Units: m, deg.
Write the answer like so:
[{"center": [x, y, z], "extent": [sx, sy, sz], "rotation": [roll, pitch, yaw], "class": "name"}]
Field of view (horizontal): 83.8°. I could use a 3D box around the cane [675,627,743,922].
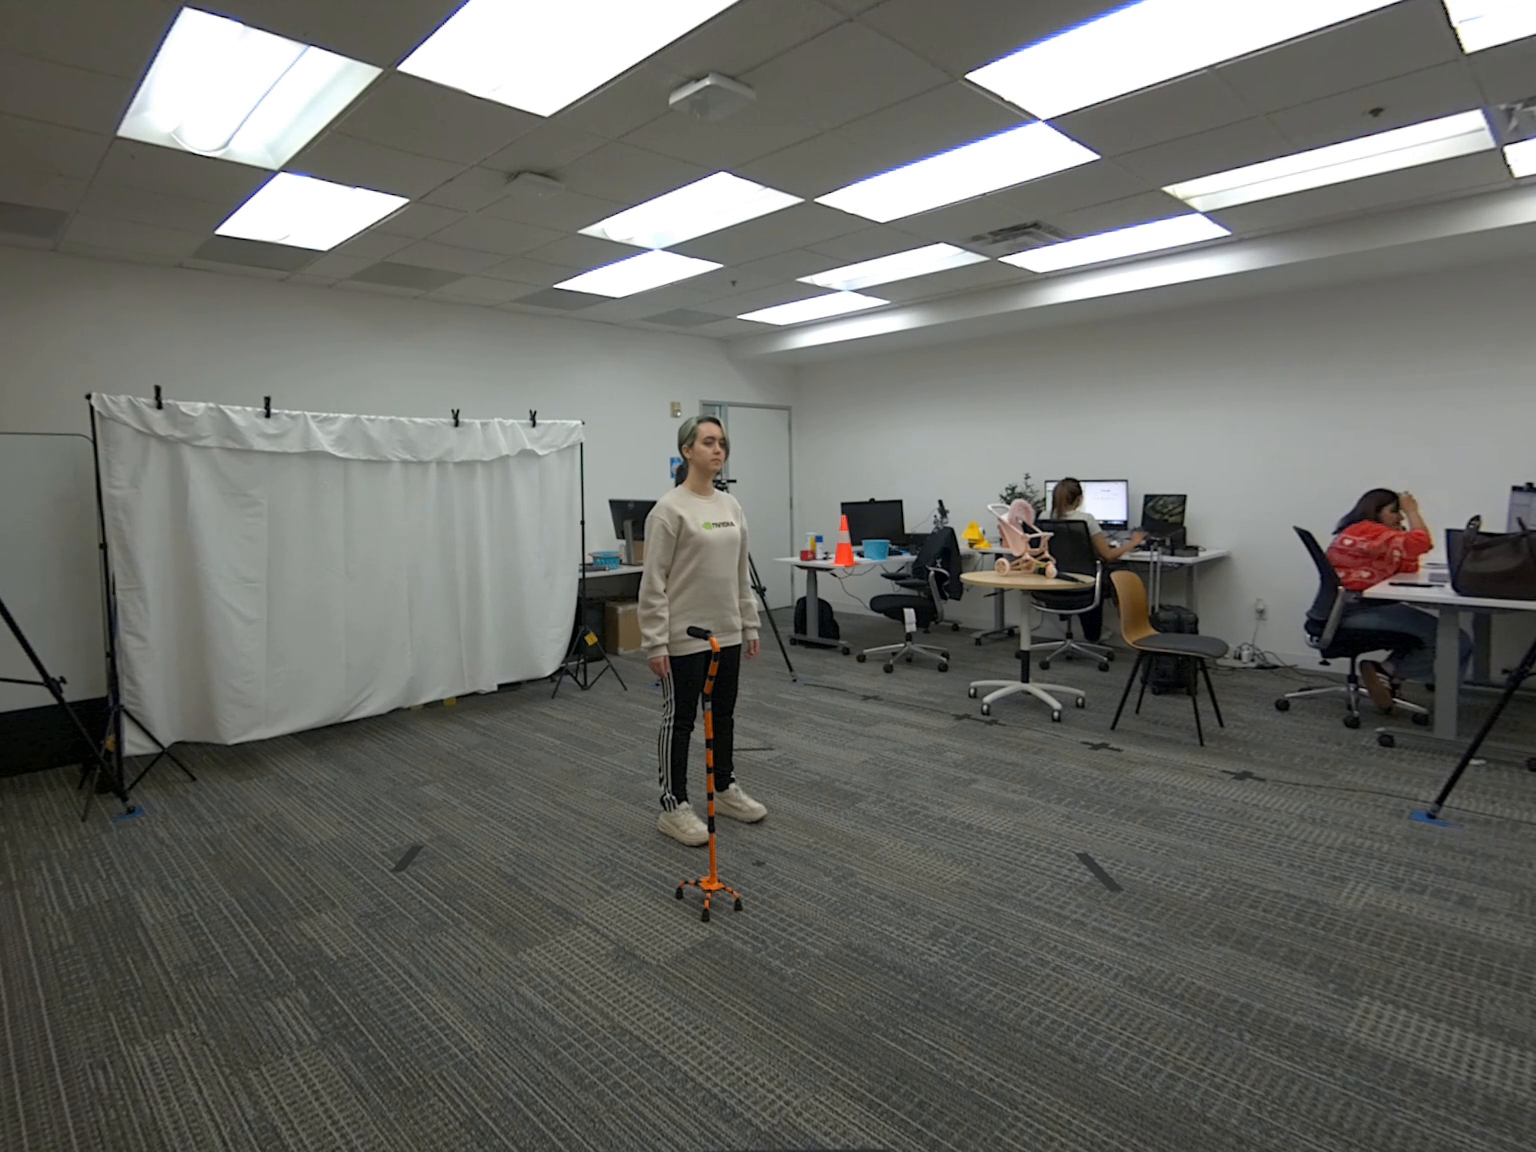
[{"center": [-0.204, 0.632, 2.797], "extent": [0.148, 0.905, 0.212], "rotation": [-4, 4, -33], "class": "cane"}]
